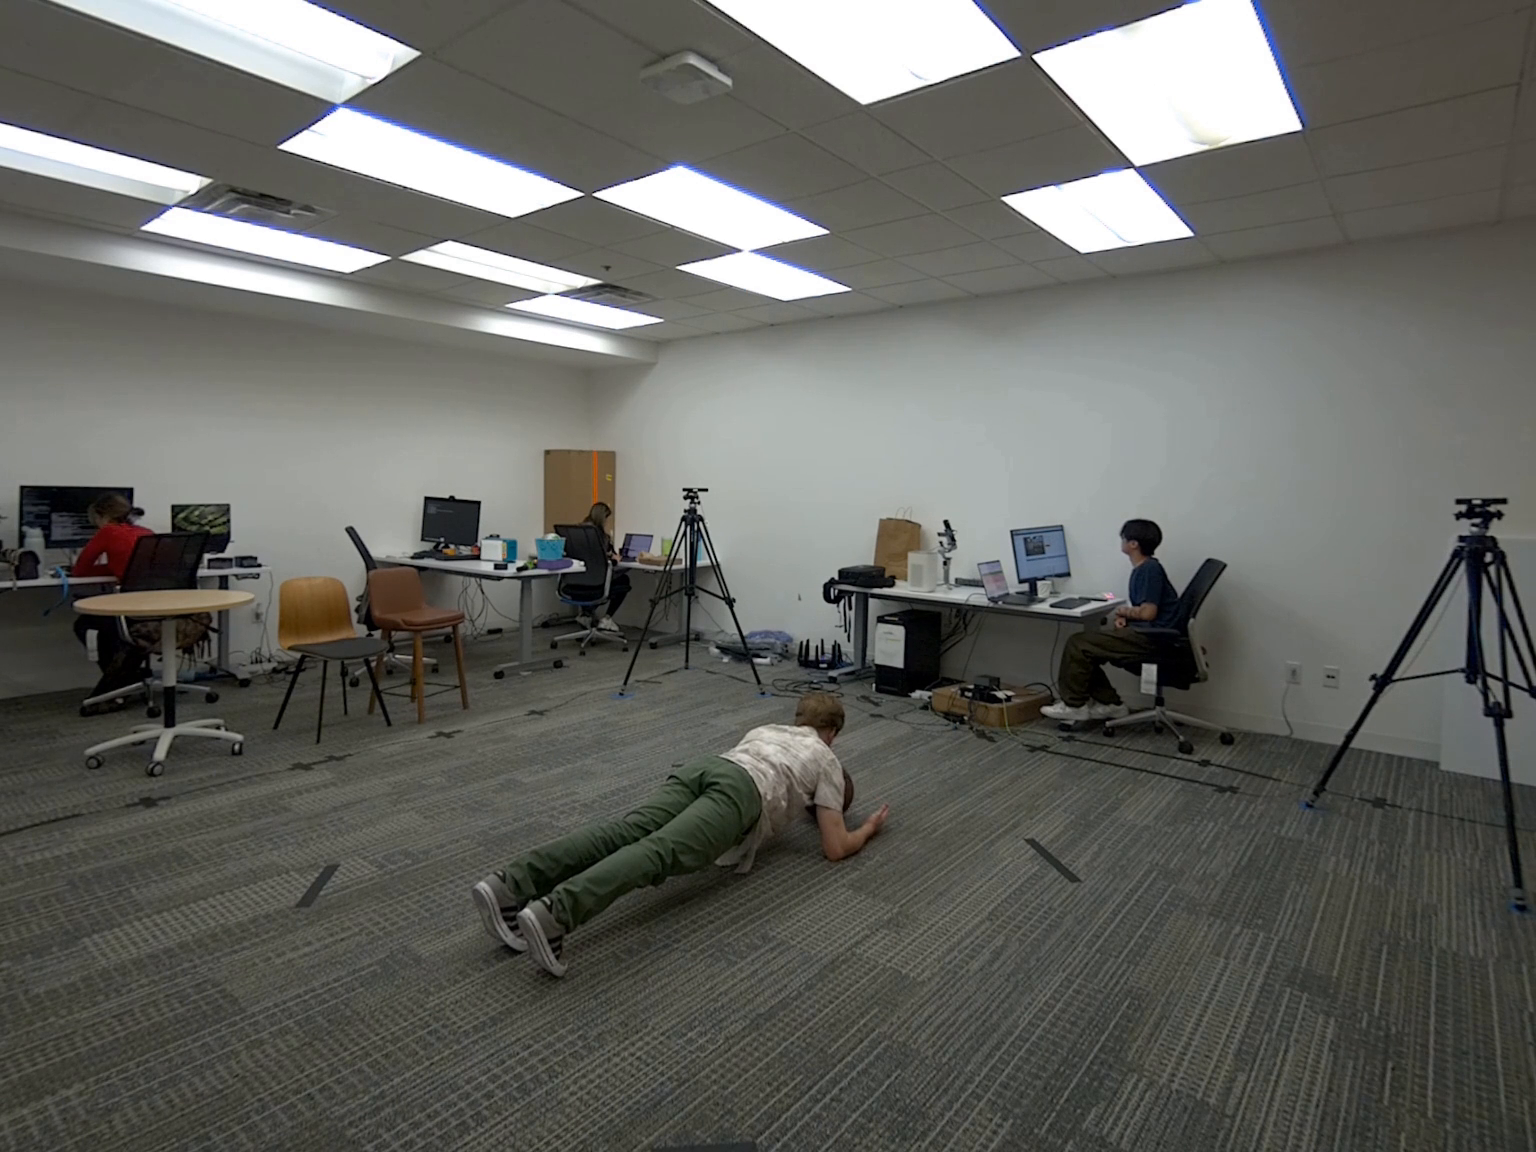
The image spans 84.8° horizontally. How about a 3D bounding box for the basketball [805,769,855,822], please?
[{"bbox_3d":[0.237,0.905,3.618,0.235,0.235,0.237,1,4,-2],"label":"basketball"}]
